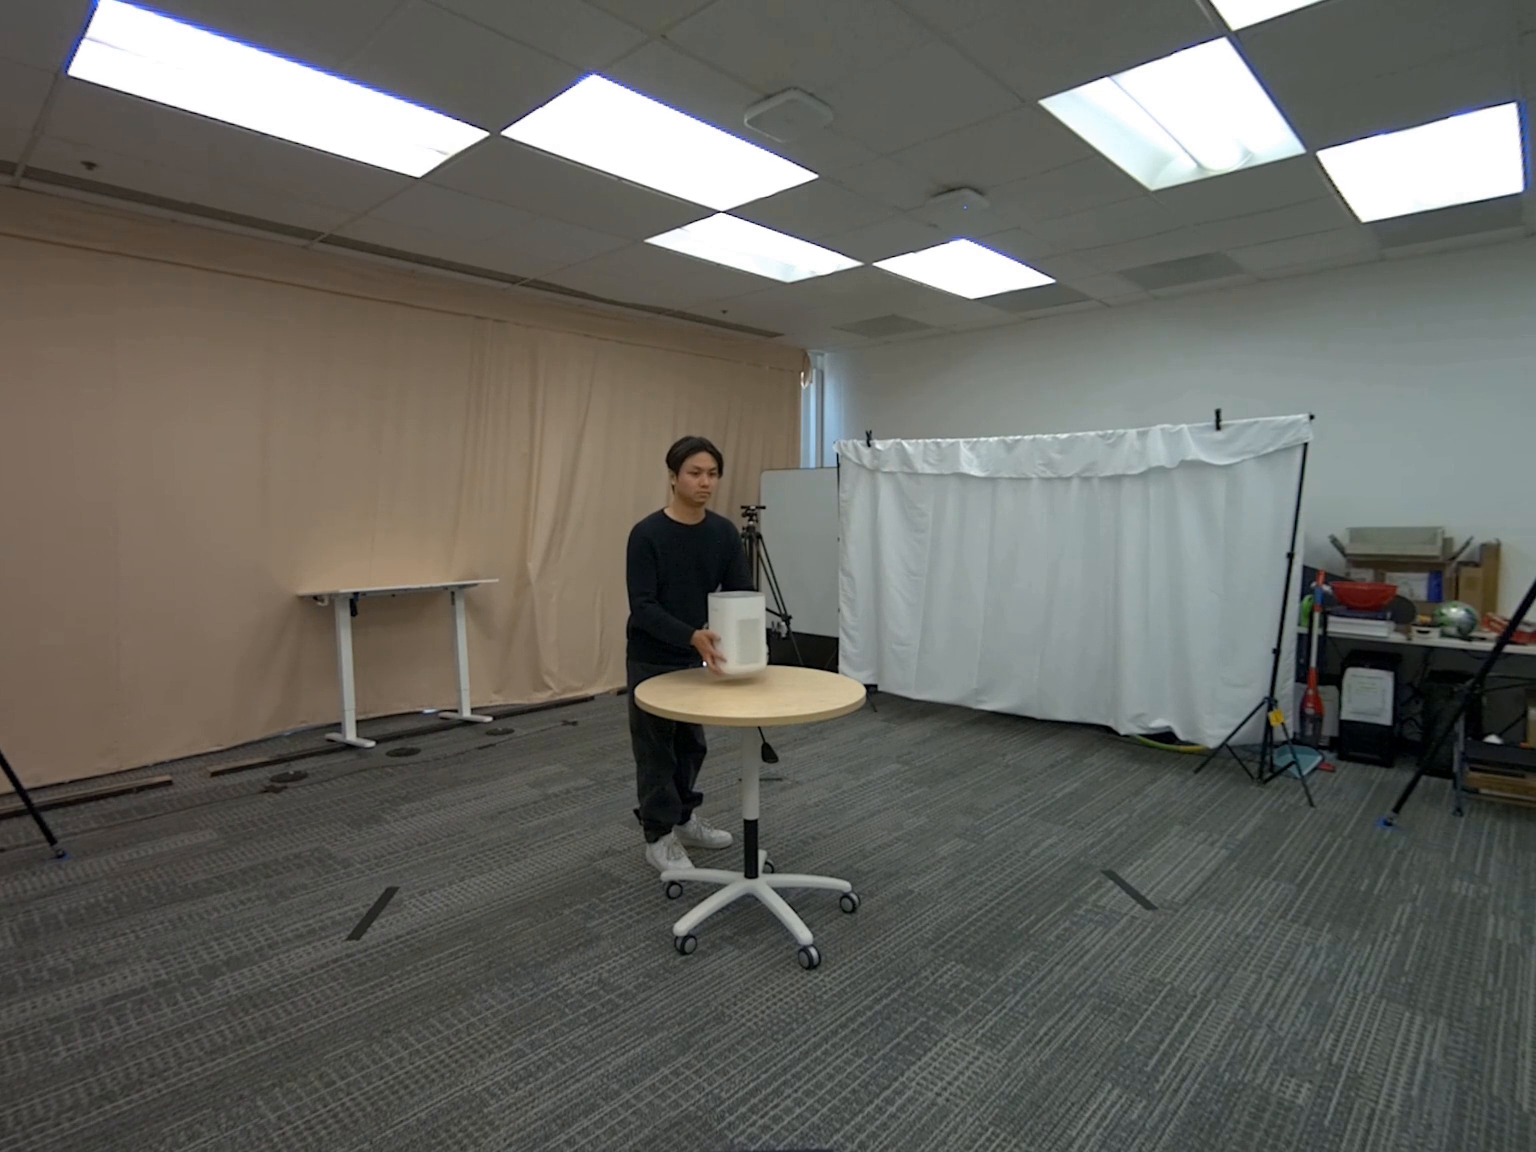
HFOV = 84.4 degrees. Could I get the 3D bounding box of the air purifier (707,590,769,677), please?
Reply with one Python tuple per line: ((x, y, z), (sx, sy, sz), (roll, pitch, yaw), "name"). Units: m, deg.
((-0.105, 0.192, 2.883), (0.167, 0.265, 0.176), (-2, 2, -30), "air purifier")
